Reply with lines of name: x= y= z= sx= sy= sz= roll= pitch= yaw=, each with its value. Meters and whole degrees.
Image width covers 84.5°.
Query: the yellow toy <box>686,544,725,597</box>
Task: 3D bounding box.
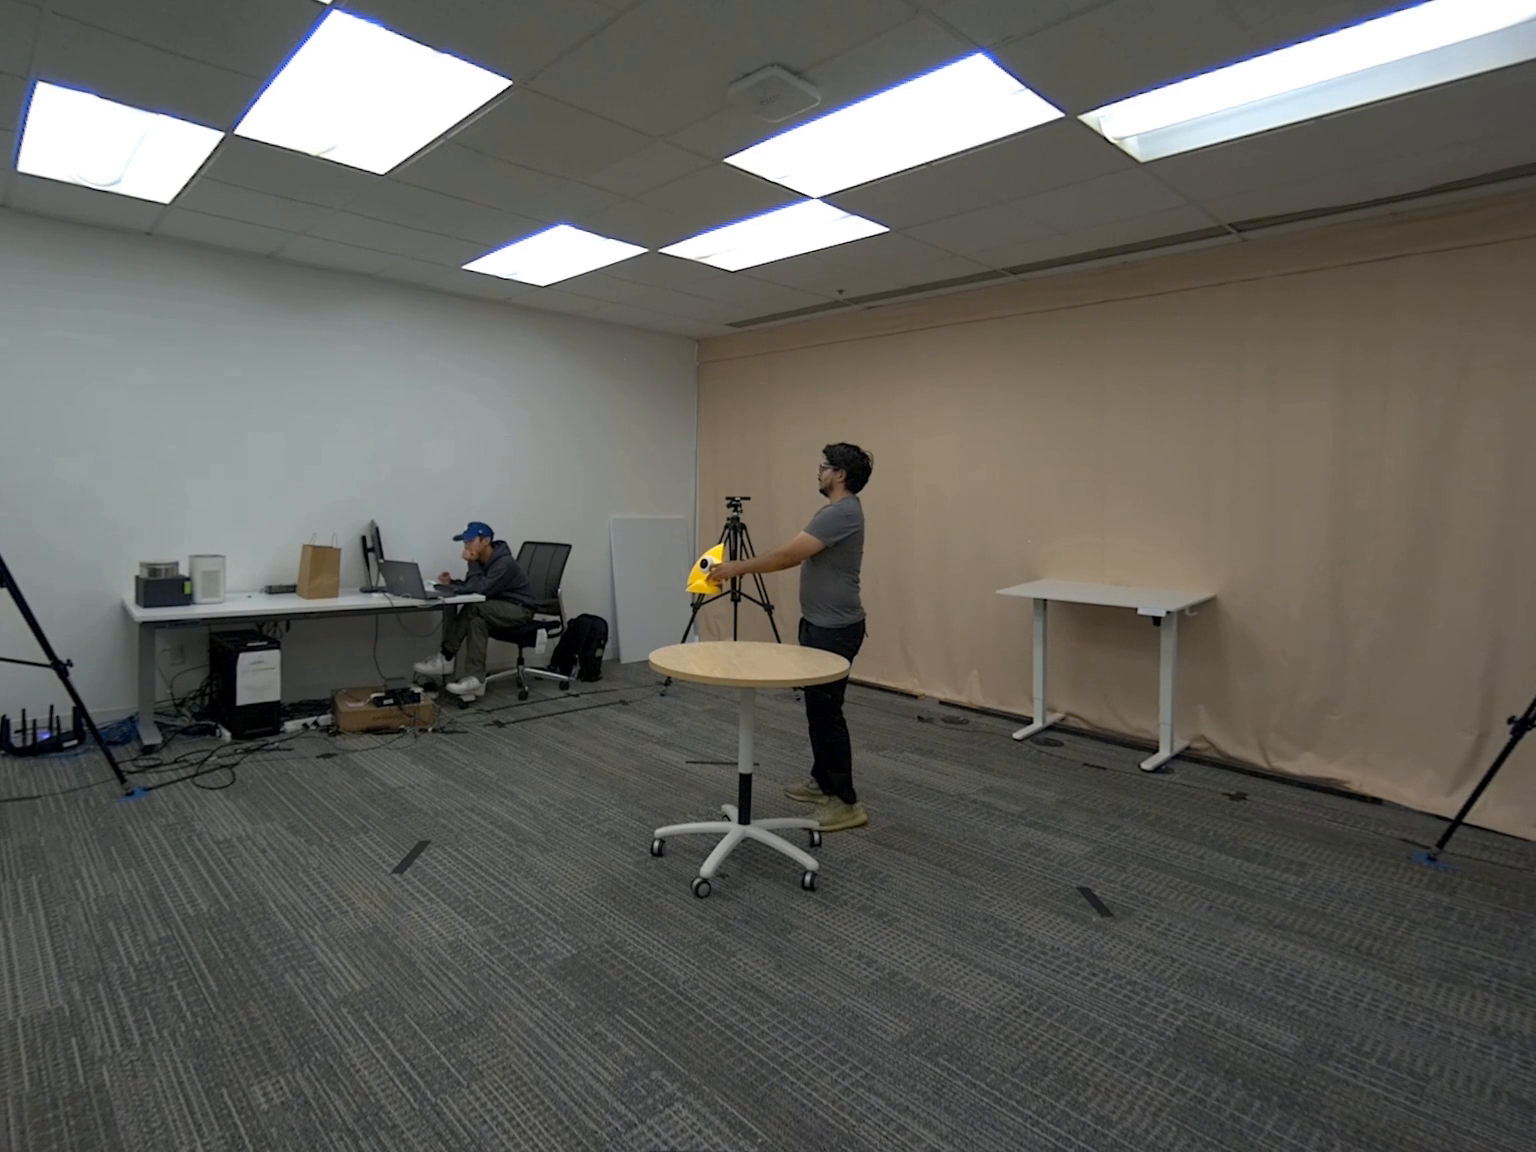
yellow toy: x=-0.279 y=-0.041 z=3.884 sx=0.194 sy=0.230 sz=0.204 roll=4 pitch=2 yaw=6
